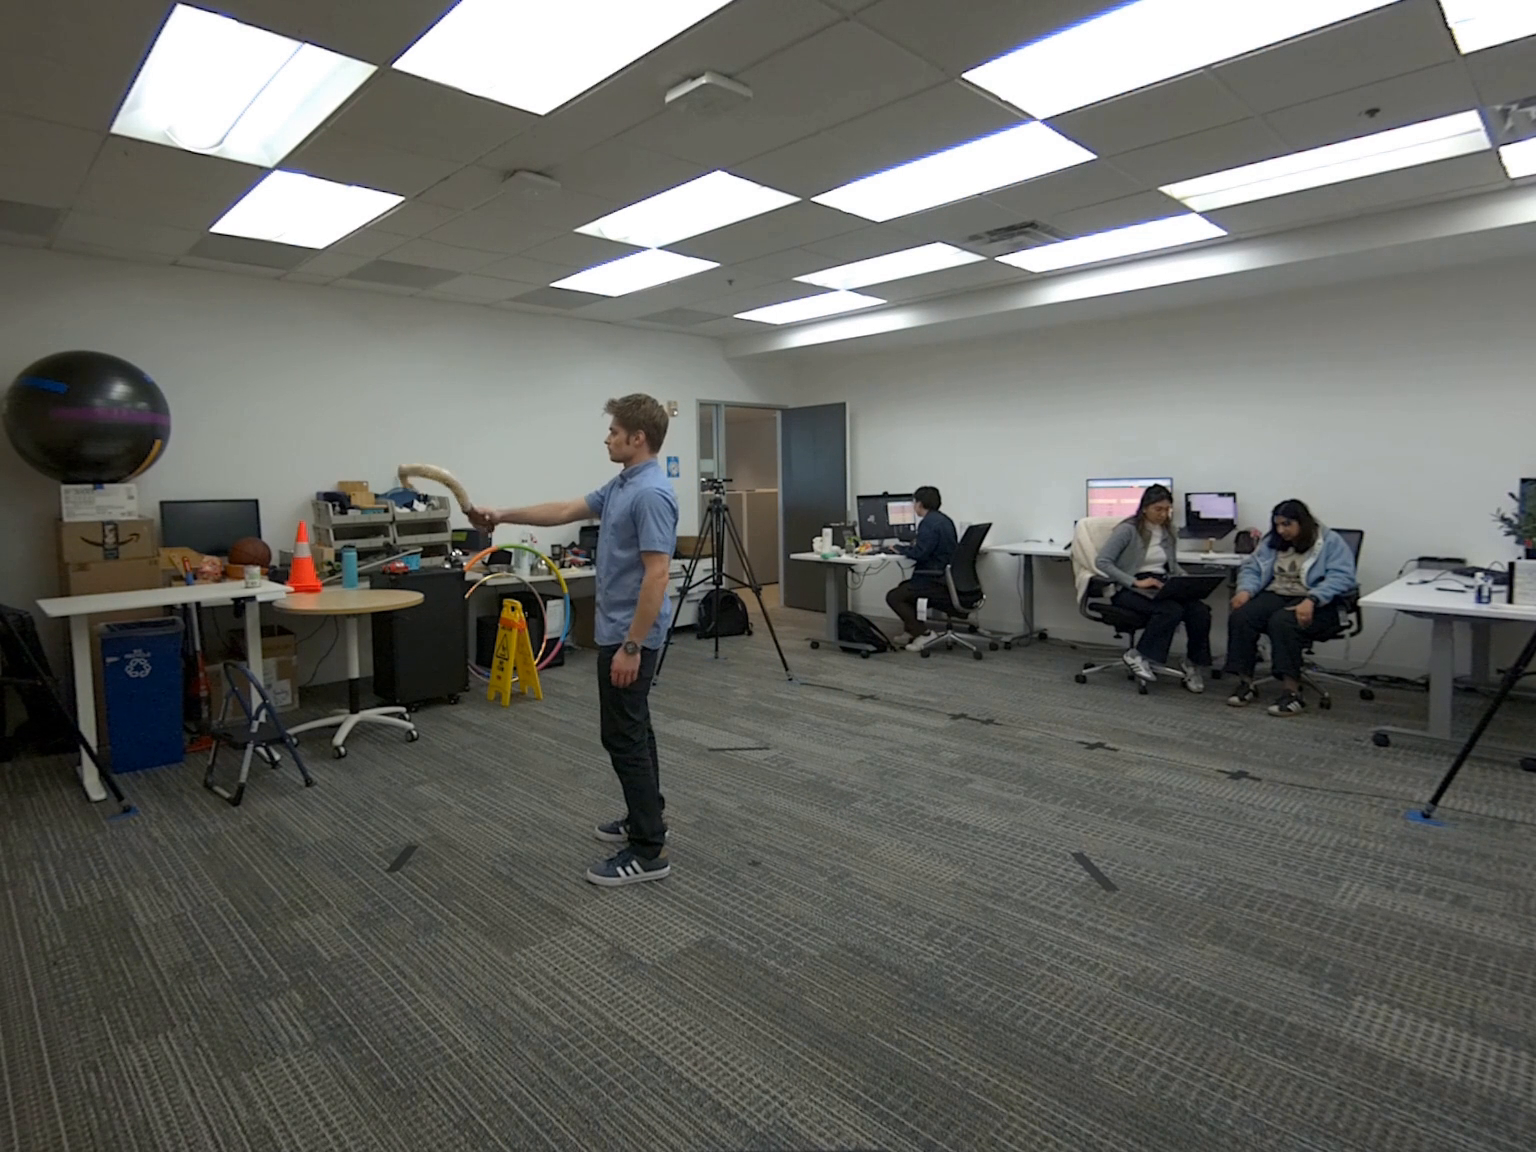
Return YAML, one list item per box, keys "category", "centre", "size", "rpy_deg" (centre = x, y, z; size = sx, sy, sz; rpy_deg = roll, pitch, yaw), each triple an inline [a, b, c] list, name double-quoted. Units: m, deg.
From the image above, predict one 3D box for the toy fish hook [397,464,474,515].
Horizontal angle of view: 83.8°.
- category: "toy fish hook"
  centre: [-1.143, -0.270, 3.072]
  size: [0.227, 0.049, 0.493]
  rpy_deg: [9, -23, 10]
